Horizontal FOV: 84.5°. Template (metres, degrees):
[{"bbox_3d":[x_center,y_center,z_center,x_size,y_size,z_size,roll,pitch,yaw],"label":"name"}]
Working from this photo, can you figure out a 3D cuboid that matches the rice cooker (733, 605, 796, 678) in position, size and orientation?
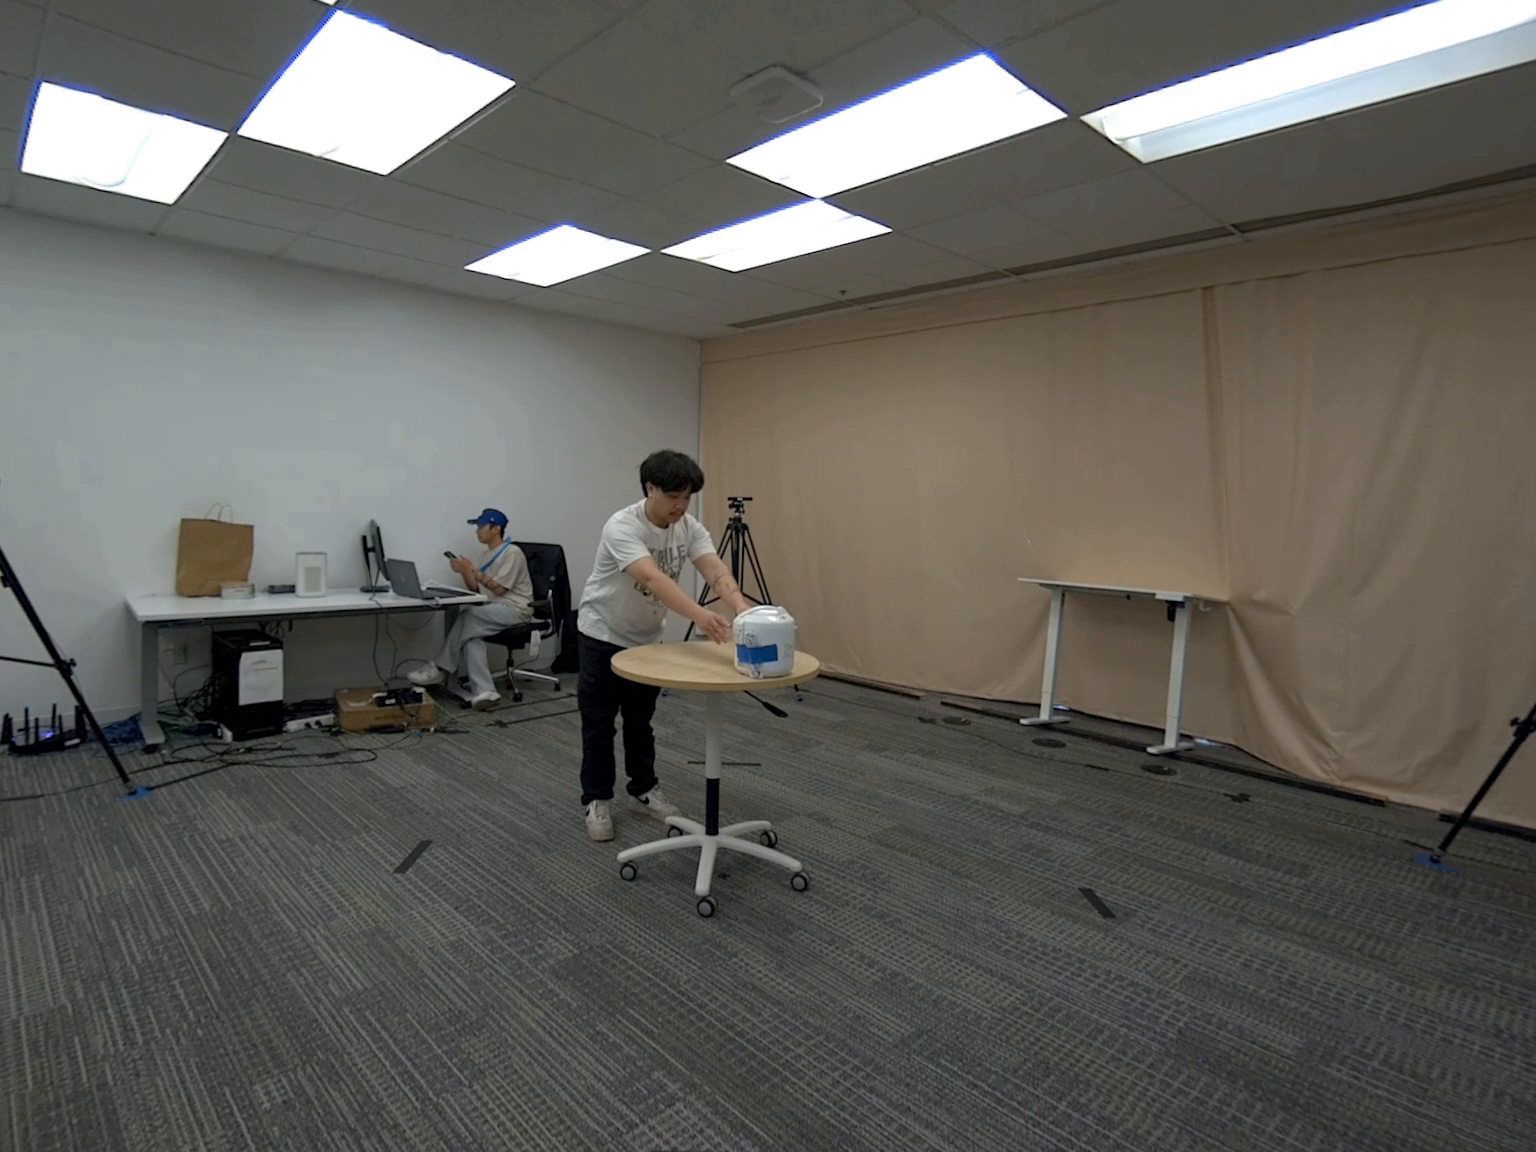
[{"bbox_3d":[-0.020,0.220,2.887,0.217,0.232,0.222,0,6,-25],"label":"rice cooker"}]
